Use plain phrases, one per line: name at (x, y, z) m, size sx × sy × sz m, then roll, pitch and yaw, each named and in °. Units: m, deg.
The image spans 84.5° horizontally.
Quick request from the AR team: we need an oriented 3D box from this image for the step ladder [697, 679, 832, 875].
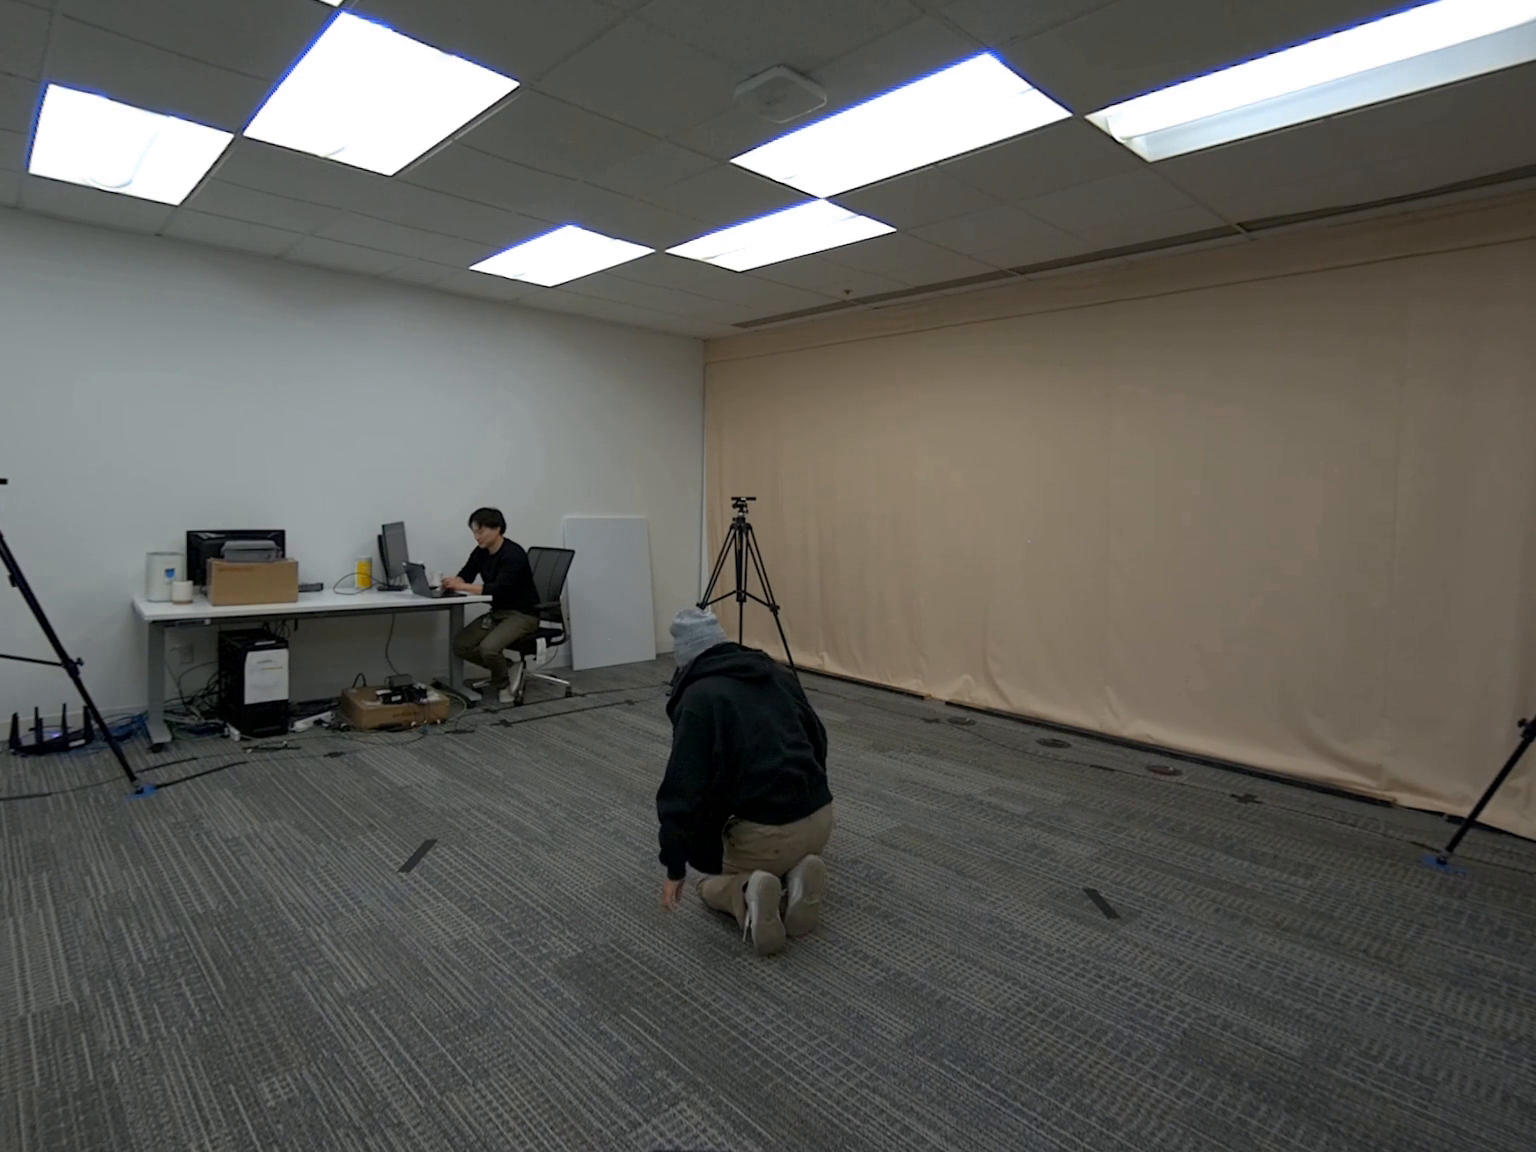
step ladder at (-0.001, 0.793, 3.358) m, size 0.434 × 0.604 × 0.347 m, roll 1°, pitch 4°, yaw 10°
